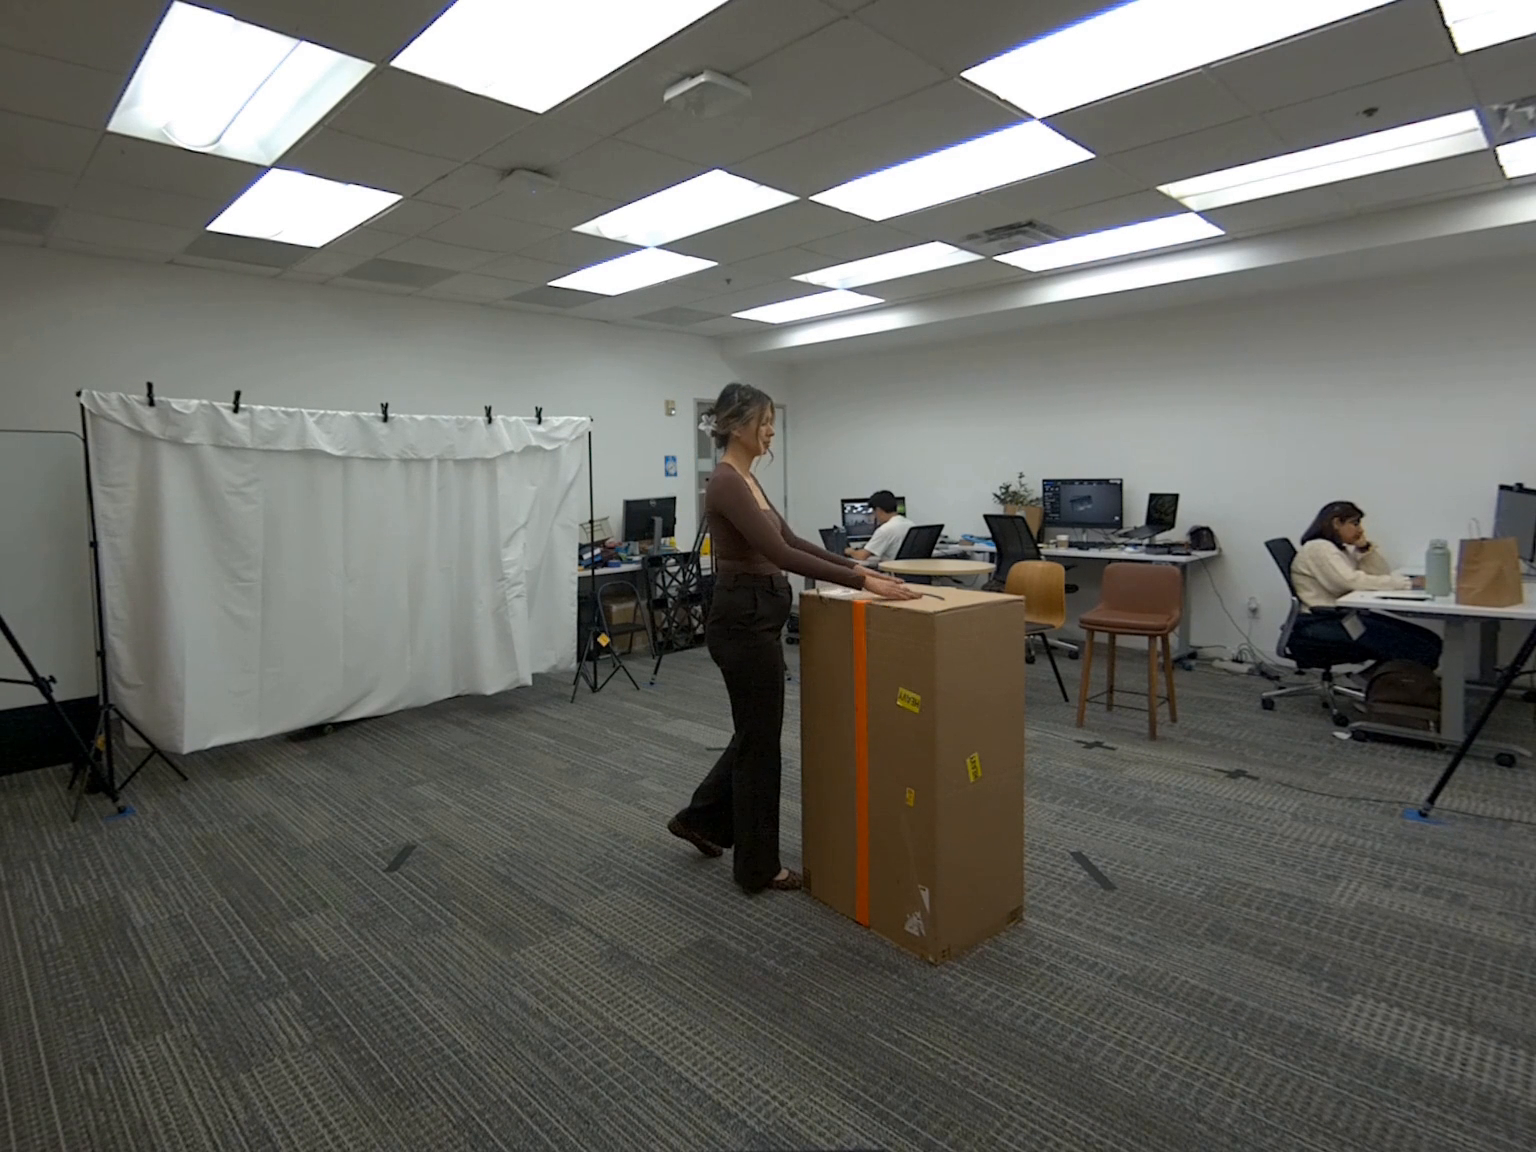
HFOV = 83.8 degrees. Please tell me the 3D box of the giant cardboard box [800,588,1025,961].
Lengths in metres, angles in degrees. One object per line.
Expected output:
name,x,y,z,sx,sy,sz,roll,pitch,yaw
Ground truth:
giant cardboard box,0.457,0.565,2.741,0.435,1.023,0.601,-5,6,-36
